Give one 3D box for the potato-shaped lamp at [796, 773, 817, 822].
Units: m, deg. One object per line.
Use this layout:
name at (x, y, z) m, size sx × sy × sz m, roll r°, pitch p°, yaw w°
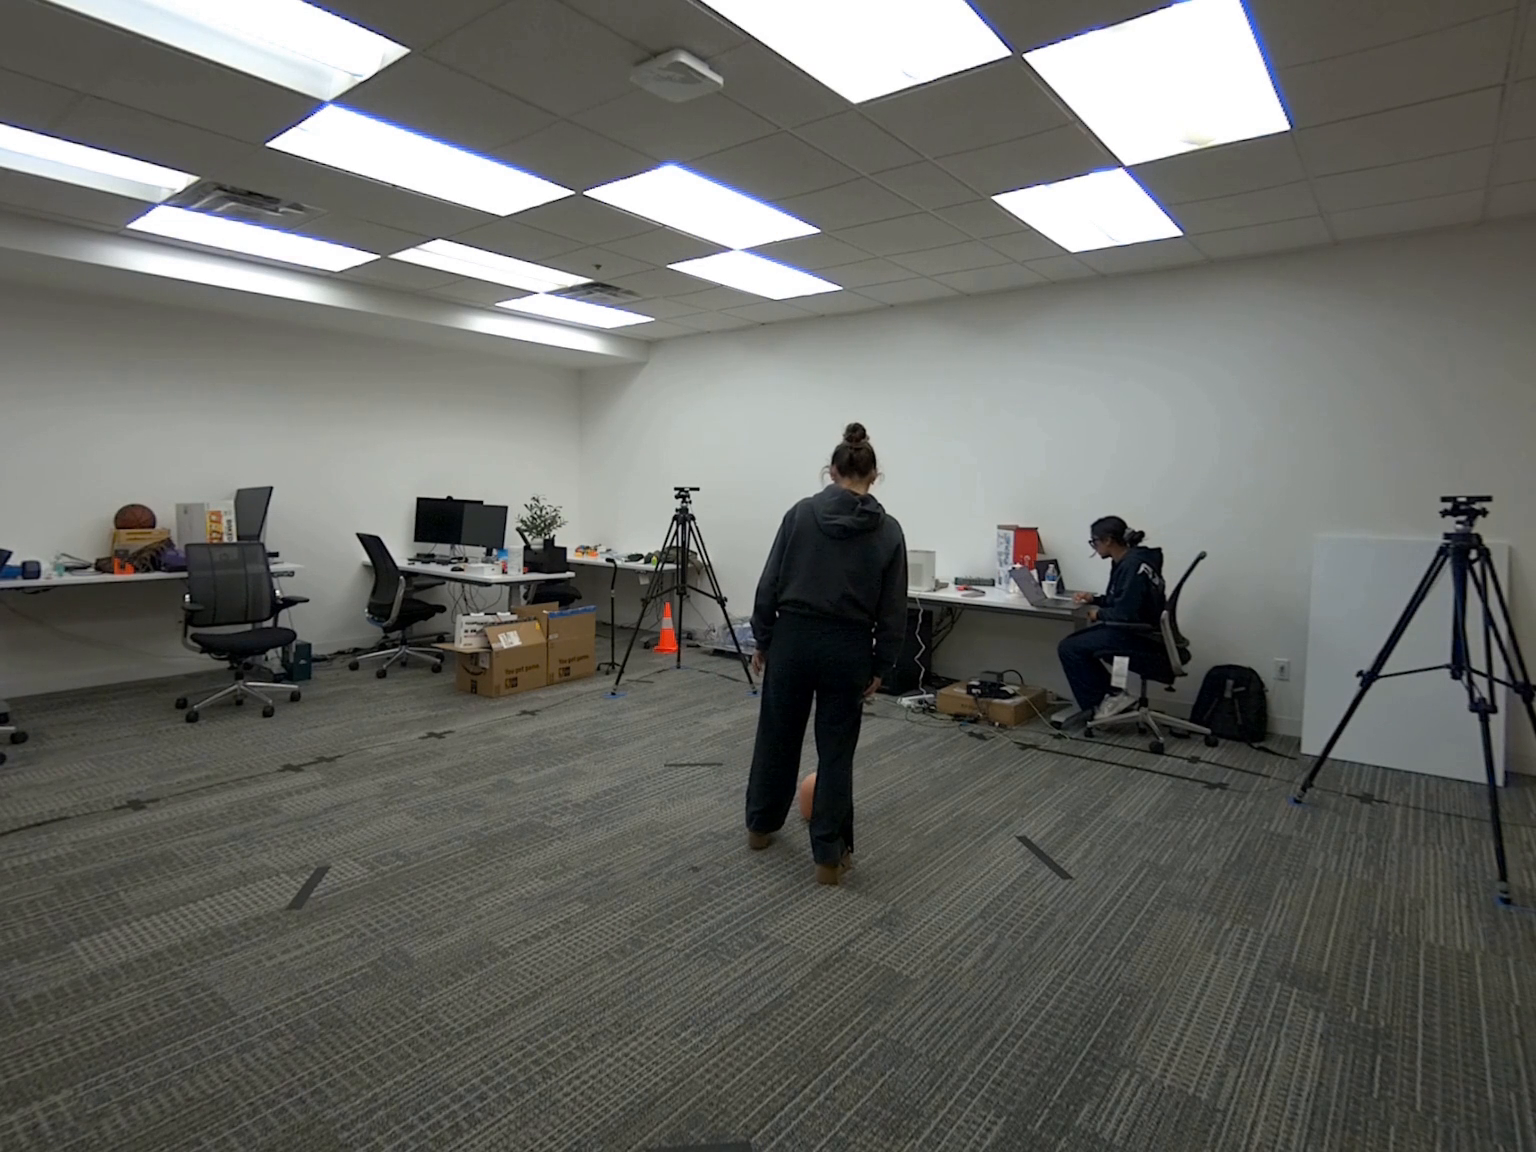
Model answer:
potato-shaped lamp at (0.221, 0.926, 3.594) m, size 0.166 × 0.197 × 0.170 m, roll -4°, pitch 7°, yaw -40°
